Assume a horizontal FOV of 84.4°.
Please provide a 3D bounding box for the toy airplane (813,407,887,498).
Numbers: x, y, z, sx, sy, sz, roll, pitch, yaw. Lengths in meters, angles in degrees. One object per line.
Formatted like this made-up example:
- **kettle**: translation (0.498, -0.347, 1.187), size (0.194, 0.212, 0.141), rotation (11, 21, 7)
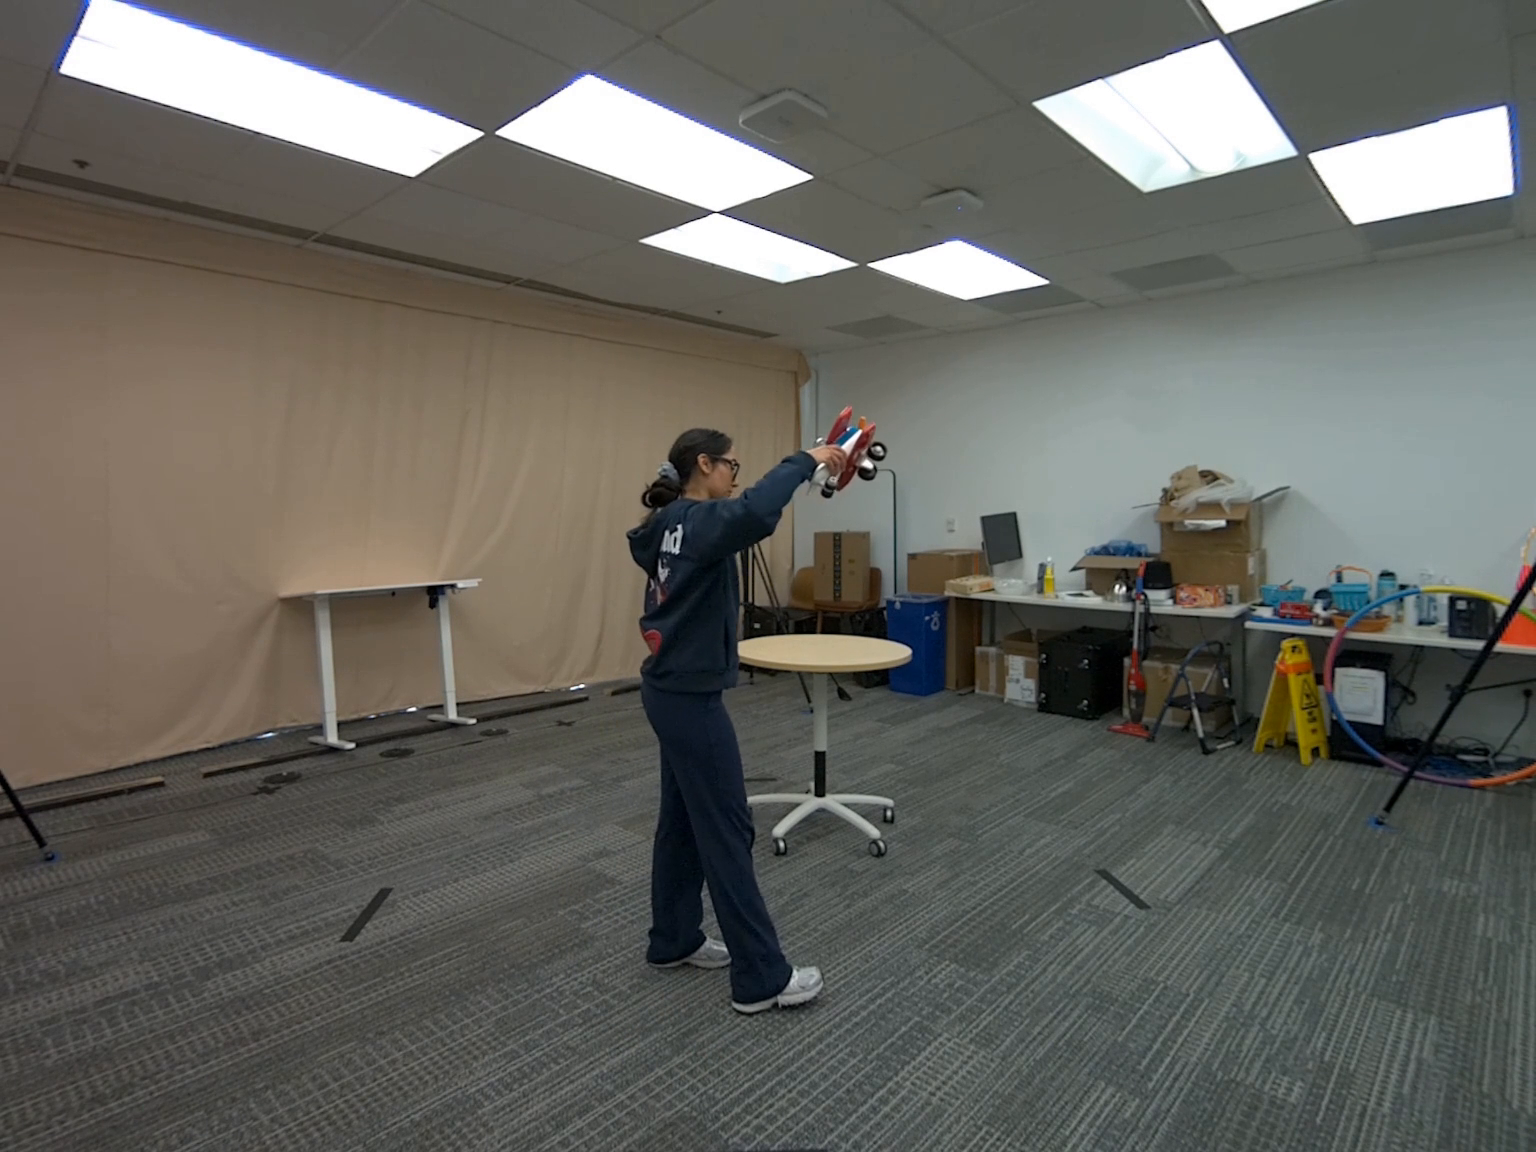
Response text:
- **toy airplane**: translation (0.215, -0.333, 2.309), size (0.252, 0.160, 0.252), rotation (-10, -35, -53)
